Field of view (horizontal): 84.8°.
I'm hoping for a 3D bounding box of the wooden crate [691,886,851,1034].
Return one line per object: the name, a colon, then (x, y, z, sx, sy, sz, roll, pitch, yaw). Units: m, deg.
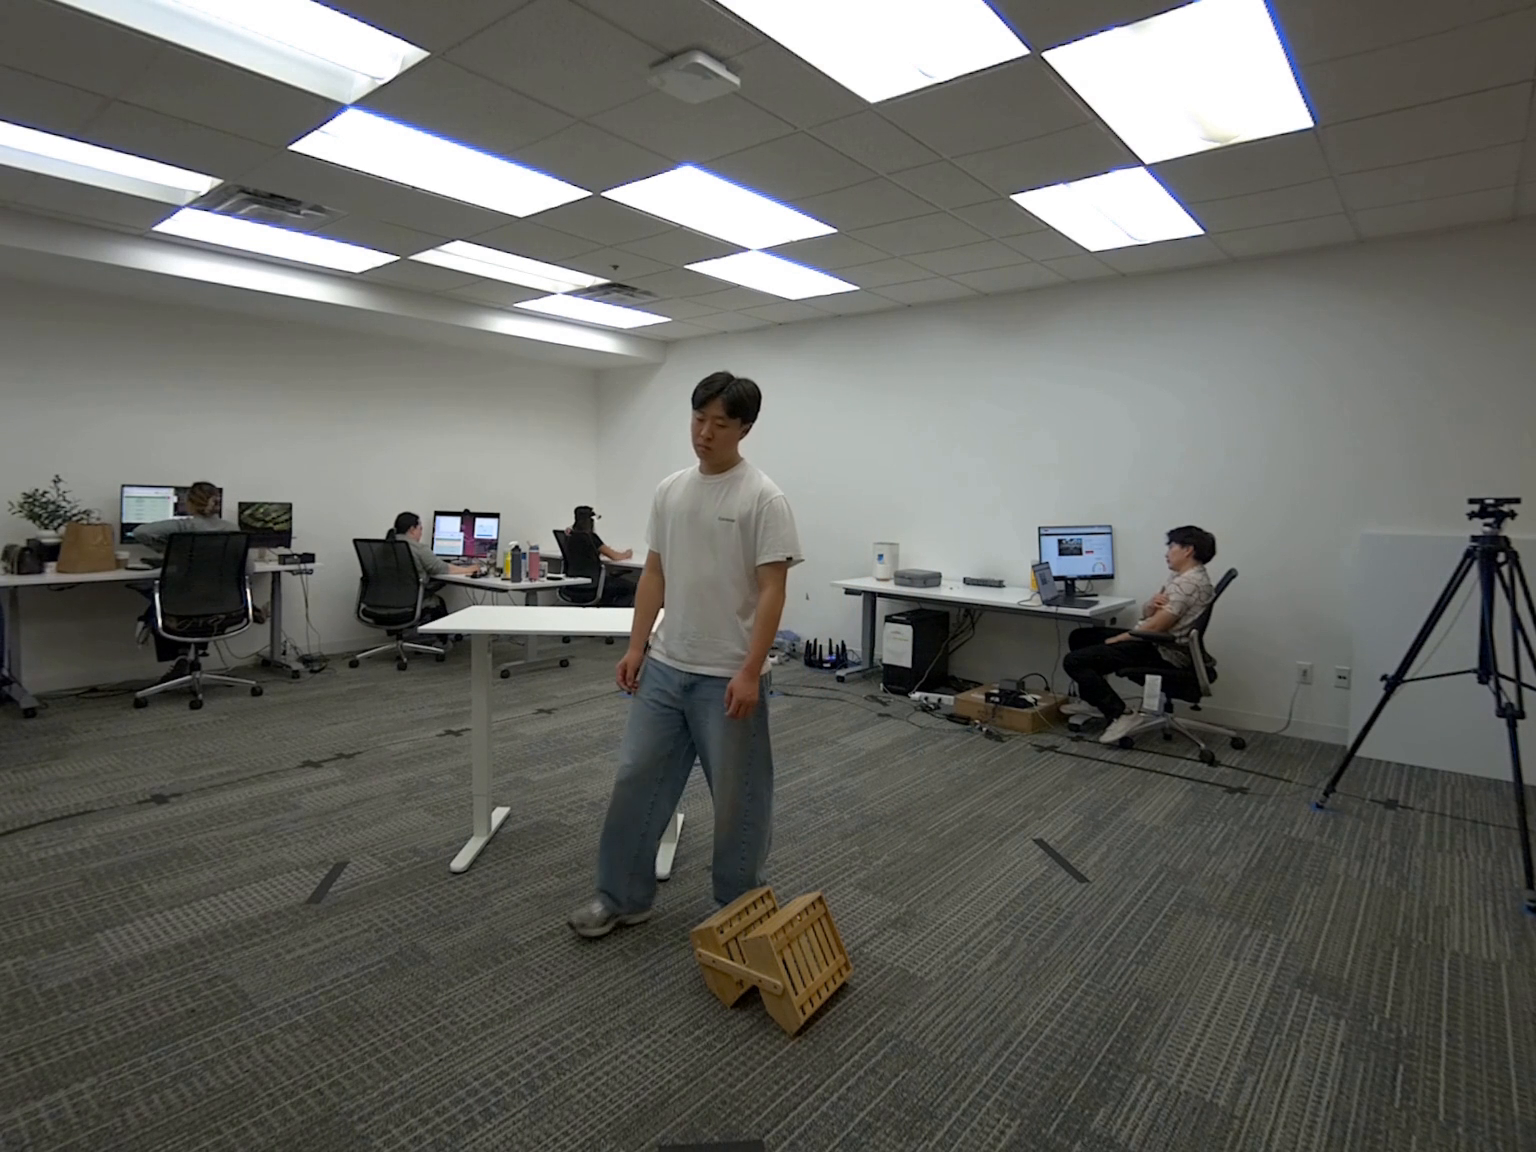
wooden crate: (0.005, 1.057, 2.368, 0.276, 0.307, 0.315, -29, -13, 31)
